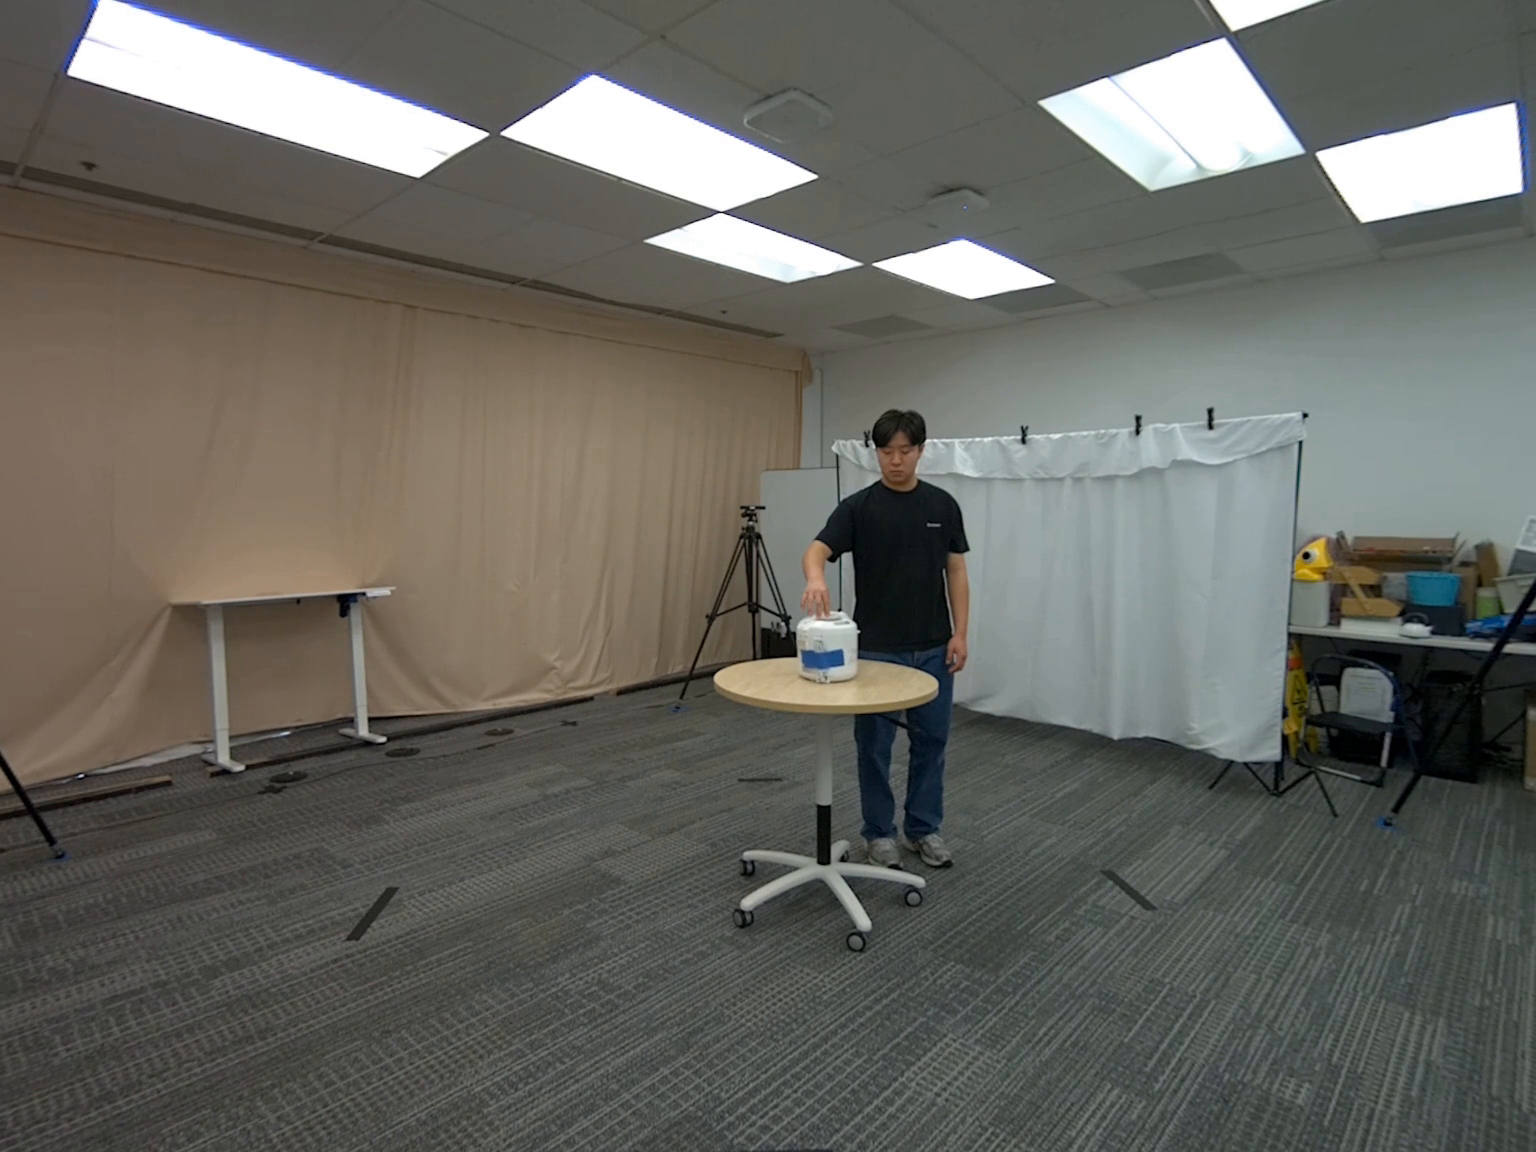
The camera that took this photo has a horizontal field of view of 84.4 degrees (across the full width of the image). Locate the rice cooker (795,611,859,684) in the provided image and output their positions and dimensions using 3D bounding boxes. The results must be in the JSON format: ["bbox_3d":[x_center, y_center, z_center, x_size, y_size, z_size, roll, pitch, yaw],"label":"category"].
[{"bbox_3d":[0.206,0.238,2.916,0.215,0.232,0.224,-1,6,-28],"label":"rice cooker"}]
